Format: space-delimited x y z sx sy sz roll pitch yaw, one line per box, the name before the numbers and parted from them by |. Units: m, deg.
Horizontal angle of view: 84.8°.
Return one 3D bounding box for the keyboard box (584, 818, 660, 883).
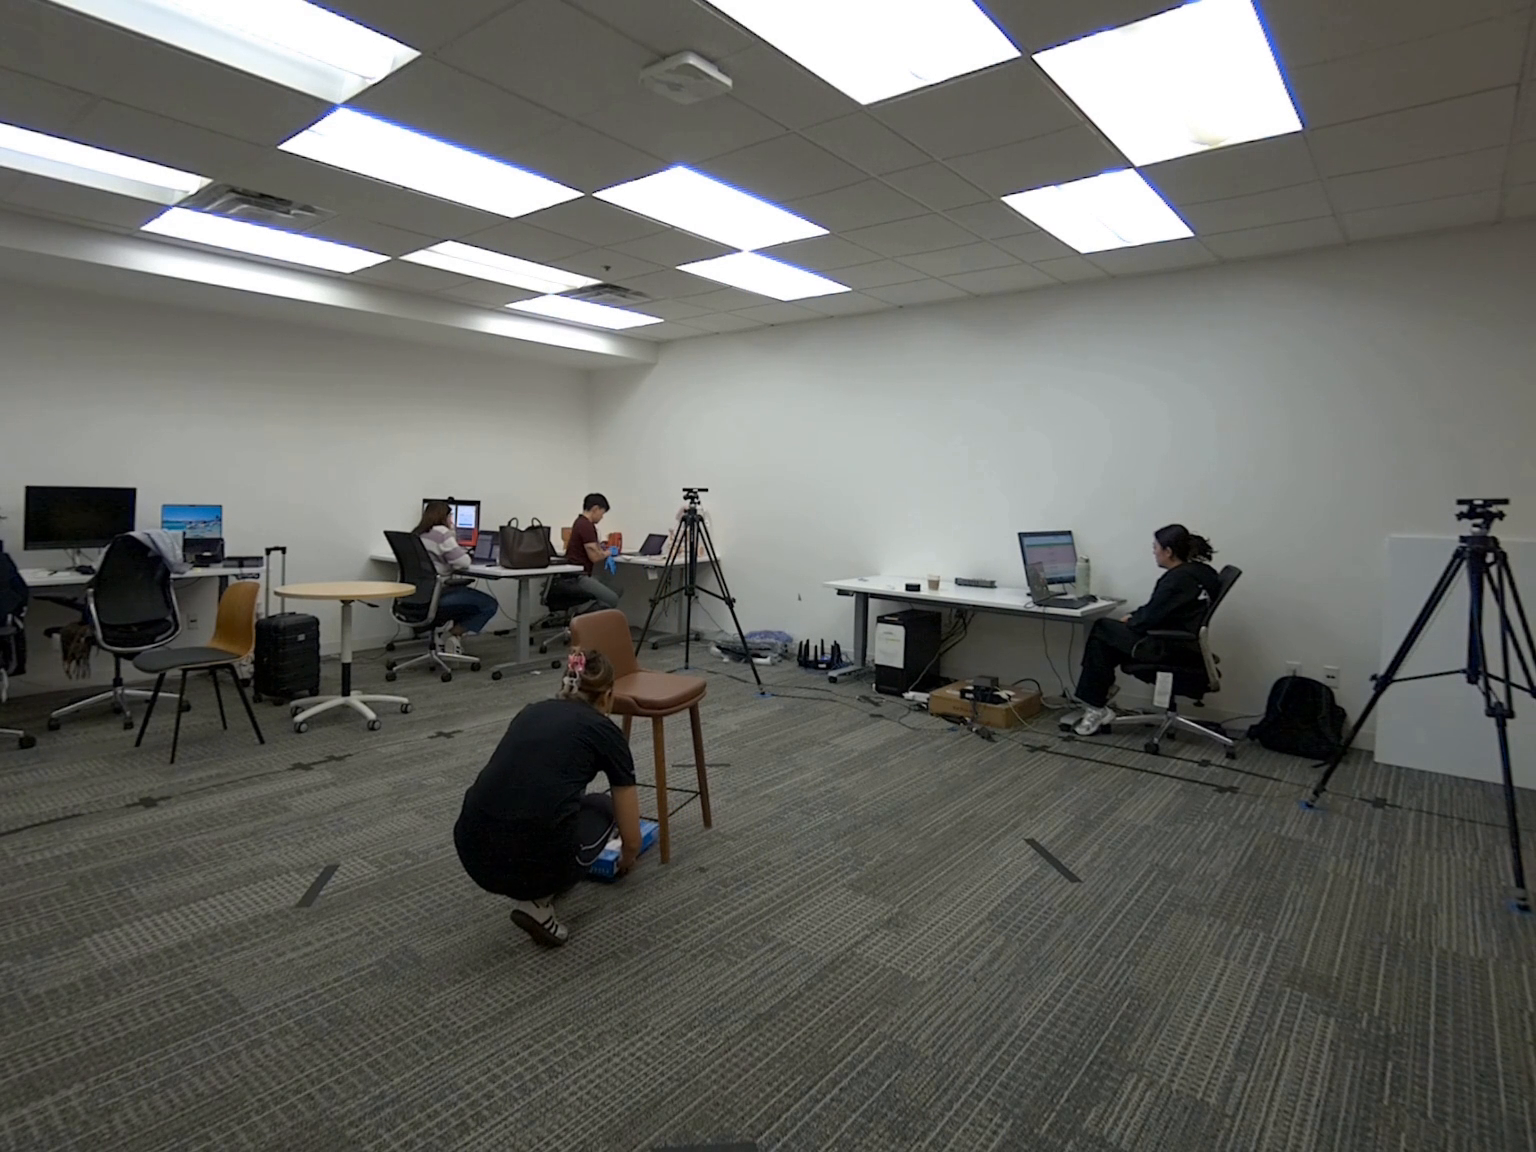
keyboard box | -0.576 1.013 3.197 0.179 0.059 0.429 2 2 14
